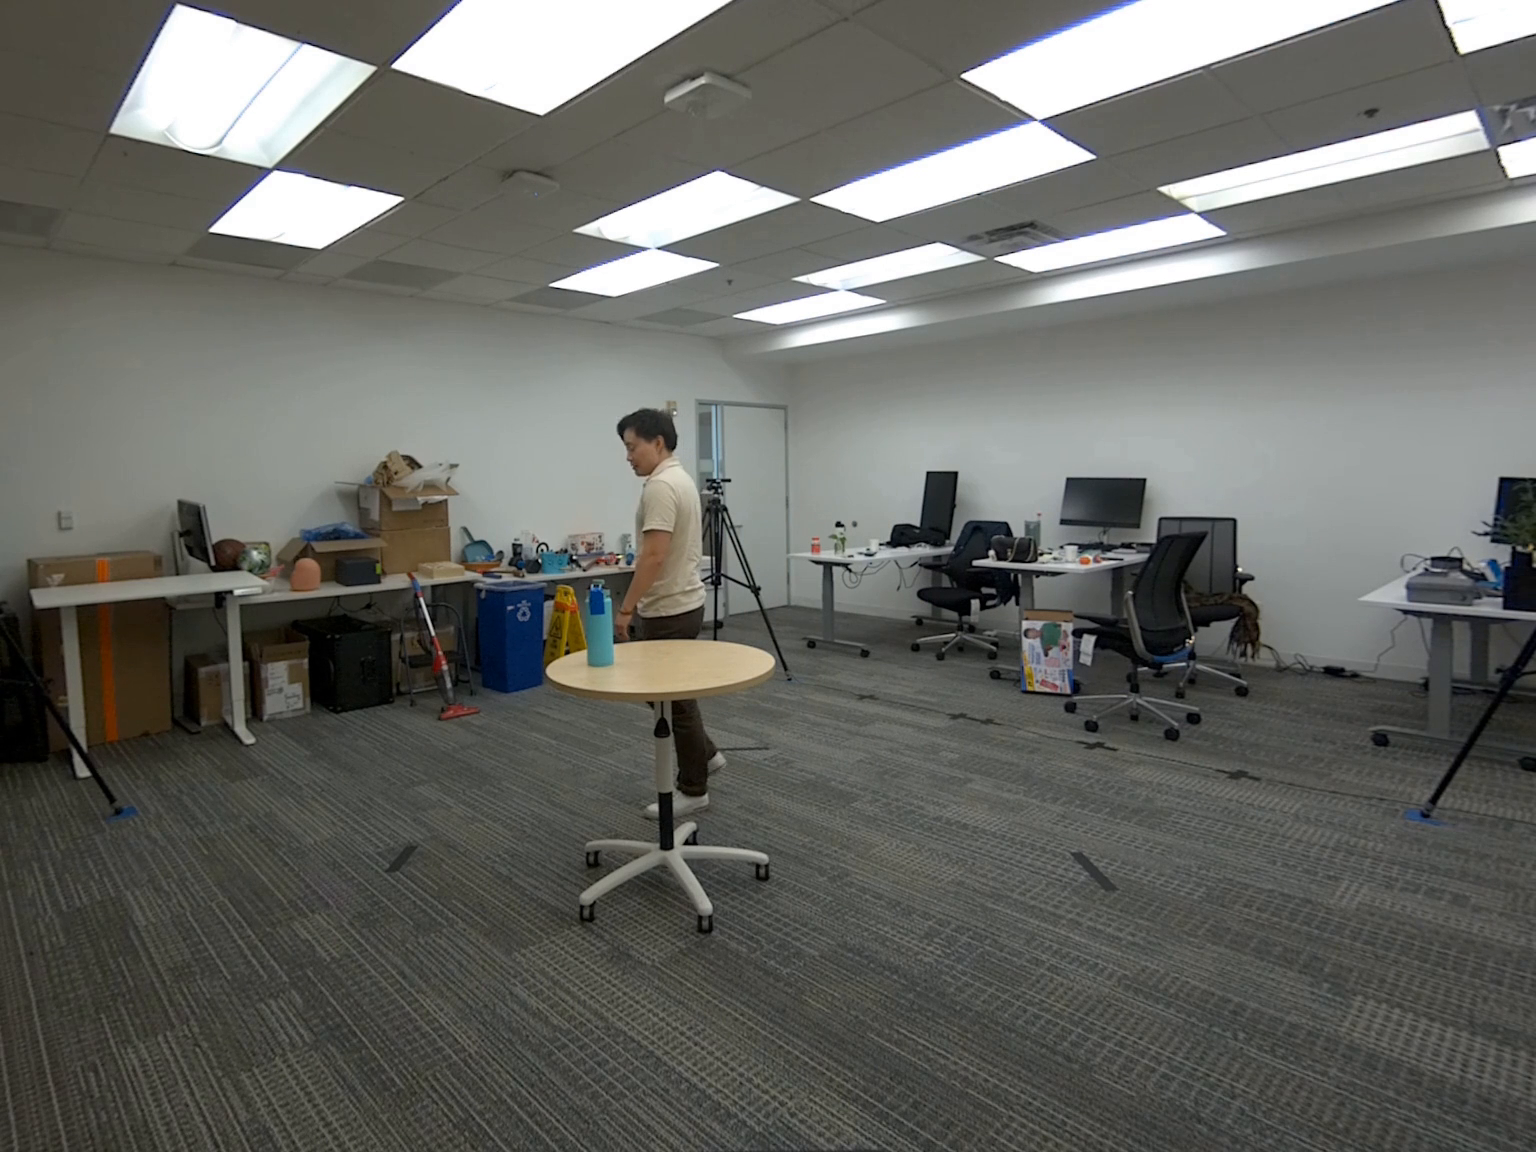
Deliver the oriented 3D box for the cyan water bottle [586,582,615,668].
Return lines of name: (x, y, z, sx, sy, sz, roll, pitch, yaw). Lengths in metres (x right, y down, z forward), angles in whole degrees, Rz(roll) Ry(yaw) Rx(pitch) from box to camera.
cyan water bottle: (-0.576, 0.160, 2.881, 0.092, 0.282, 0.093, 0, 5, -2)
